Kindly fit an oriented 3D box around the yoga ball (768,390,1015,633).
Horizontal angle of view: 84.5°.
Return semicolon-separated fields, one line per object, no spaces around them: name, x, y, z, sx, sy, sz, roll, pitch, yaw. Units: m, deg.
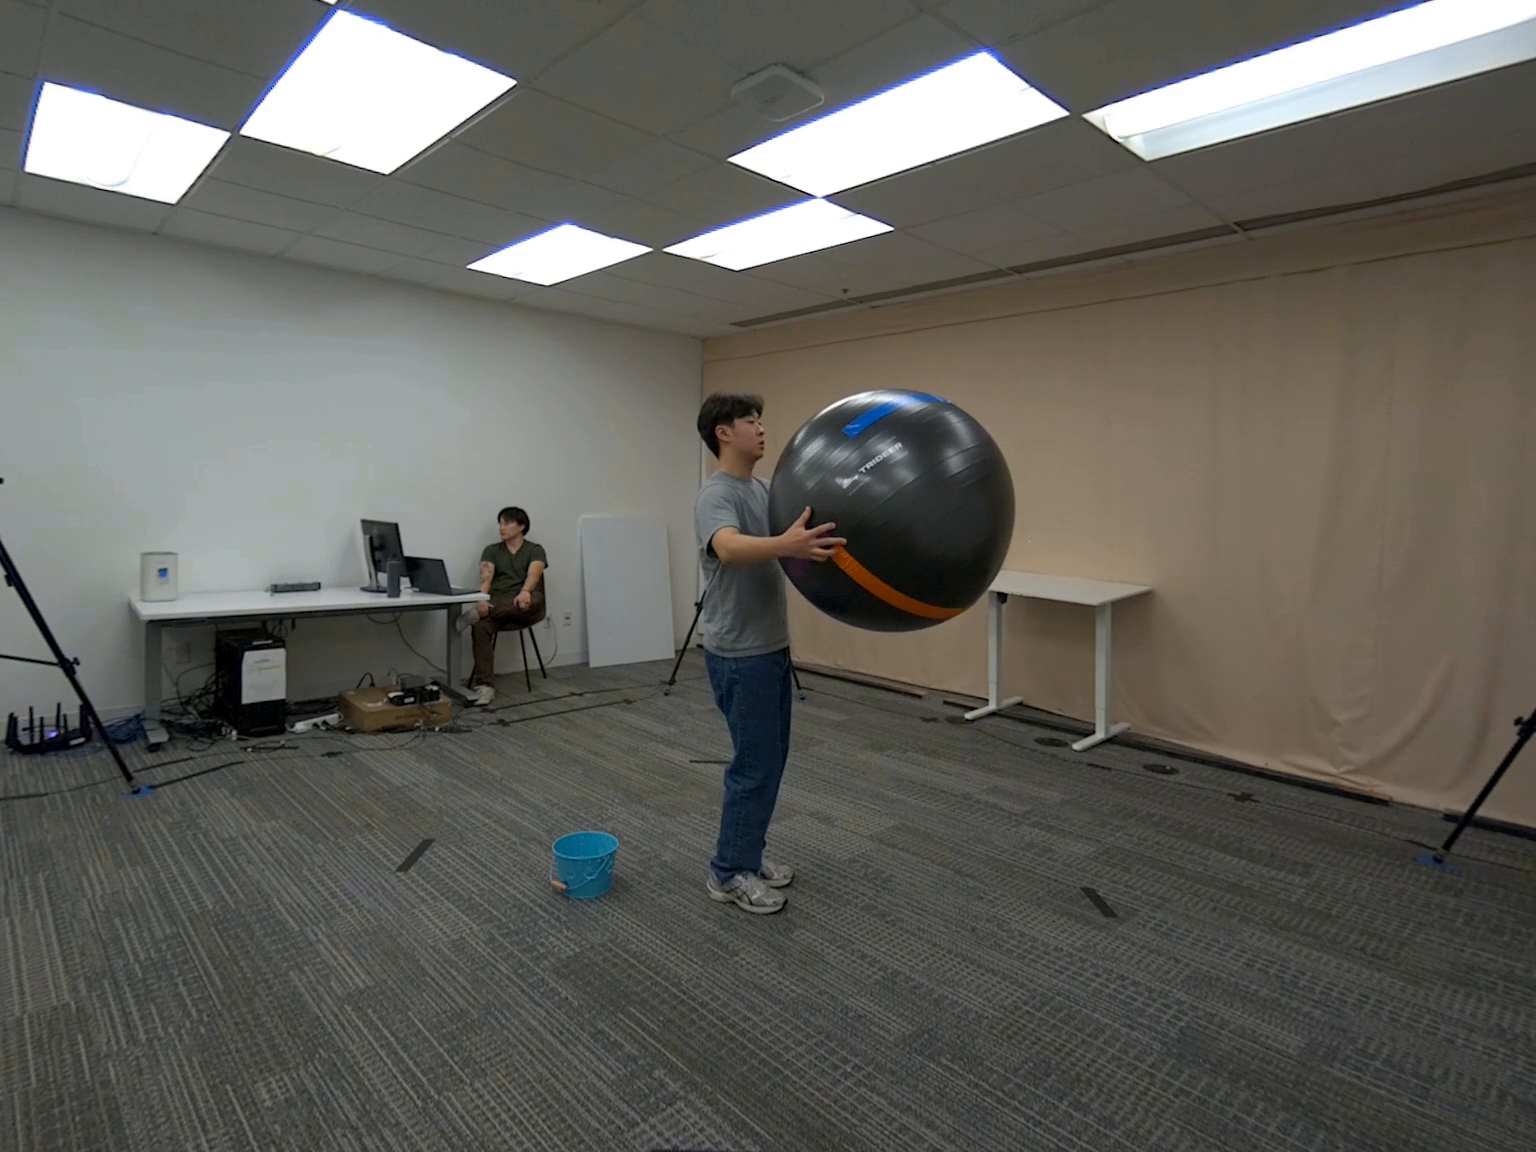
yoga ball;0.381;-0.194;2.632;0.757;0.756;0.761;1;4;-1
